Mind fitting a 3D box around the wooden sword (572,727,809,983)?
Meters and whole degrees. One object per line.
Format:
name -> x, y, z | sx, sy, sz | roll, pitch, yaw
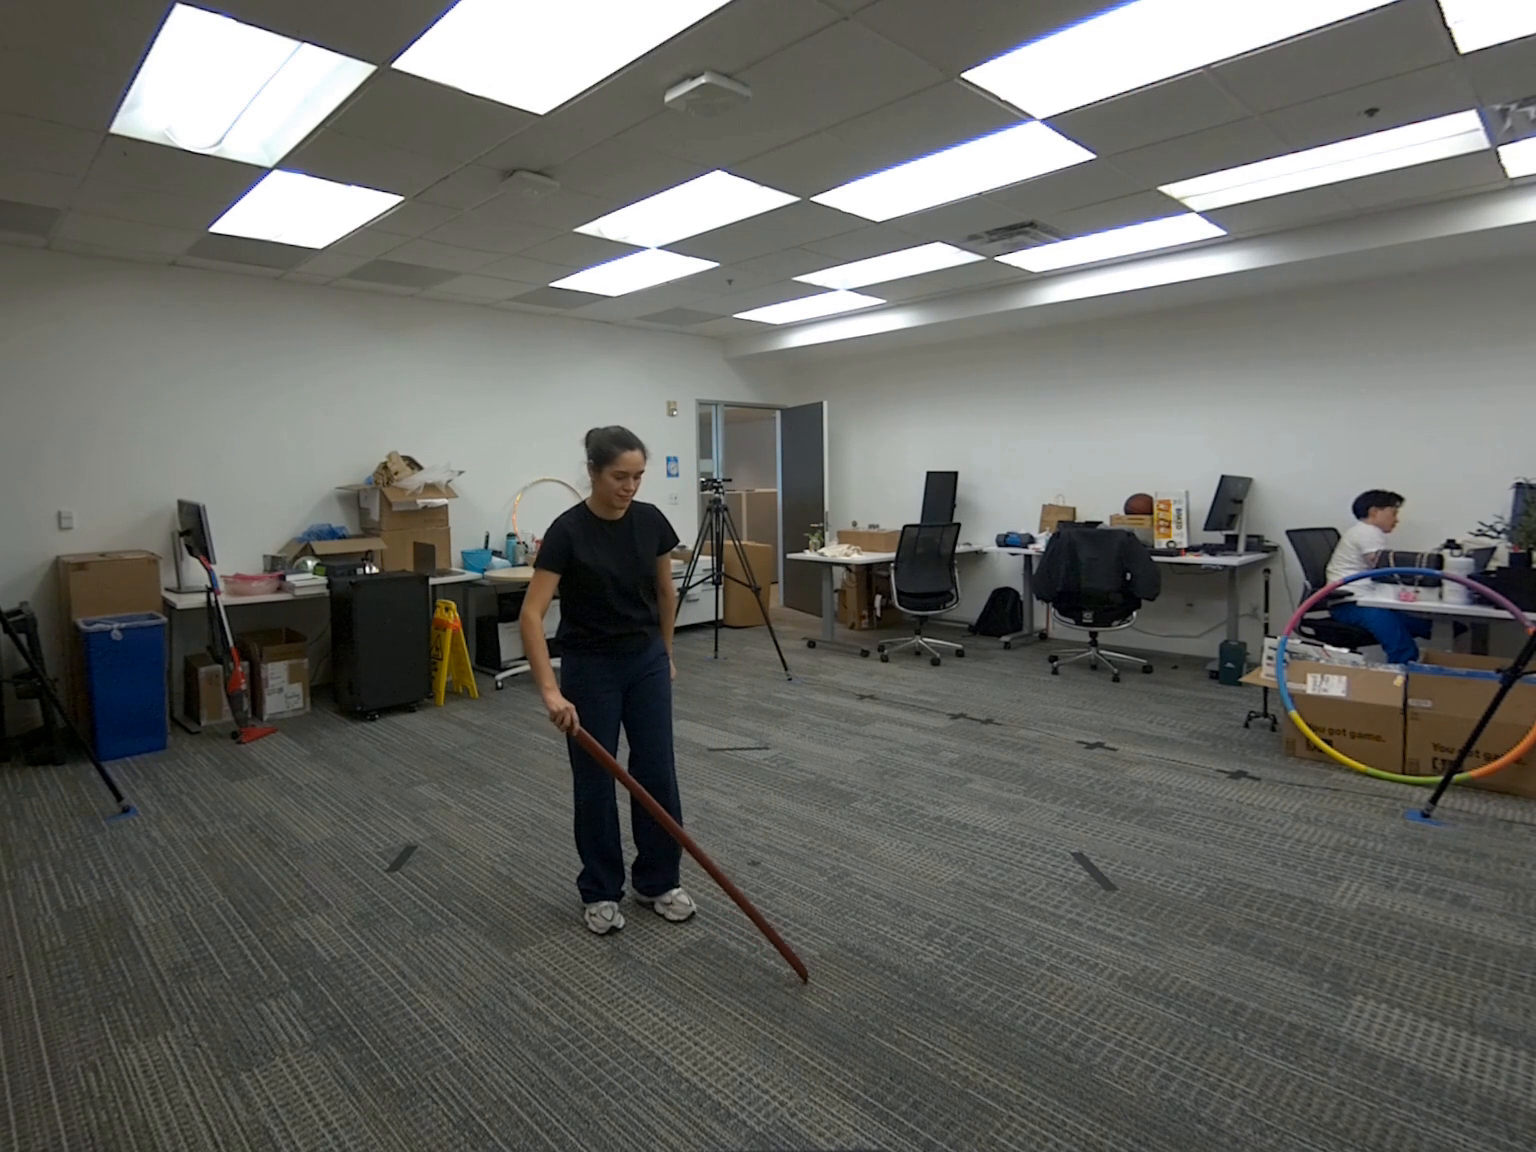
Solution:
wooden sword -> -0.228, 0.731, 2.400 | 0.024, 1.025, 0.051 | -43, -1, 23
